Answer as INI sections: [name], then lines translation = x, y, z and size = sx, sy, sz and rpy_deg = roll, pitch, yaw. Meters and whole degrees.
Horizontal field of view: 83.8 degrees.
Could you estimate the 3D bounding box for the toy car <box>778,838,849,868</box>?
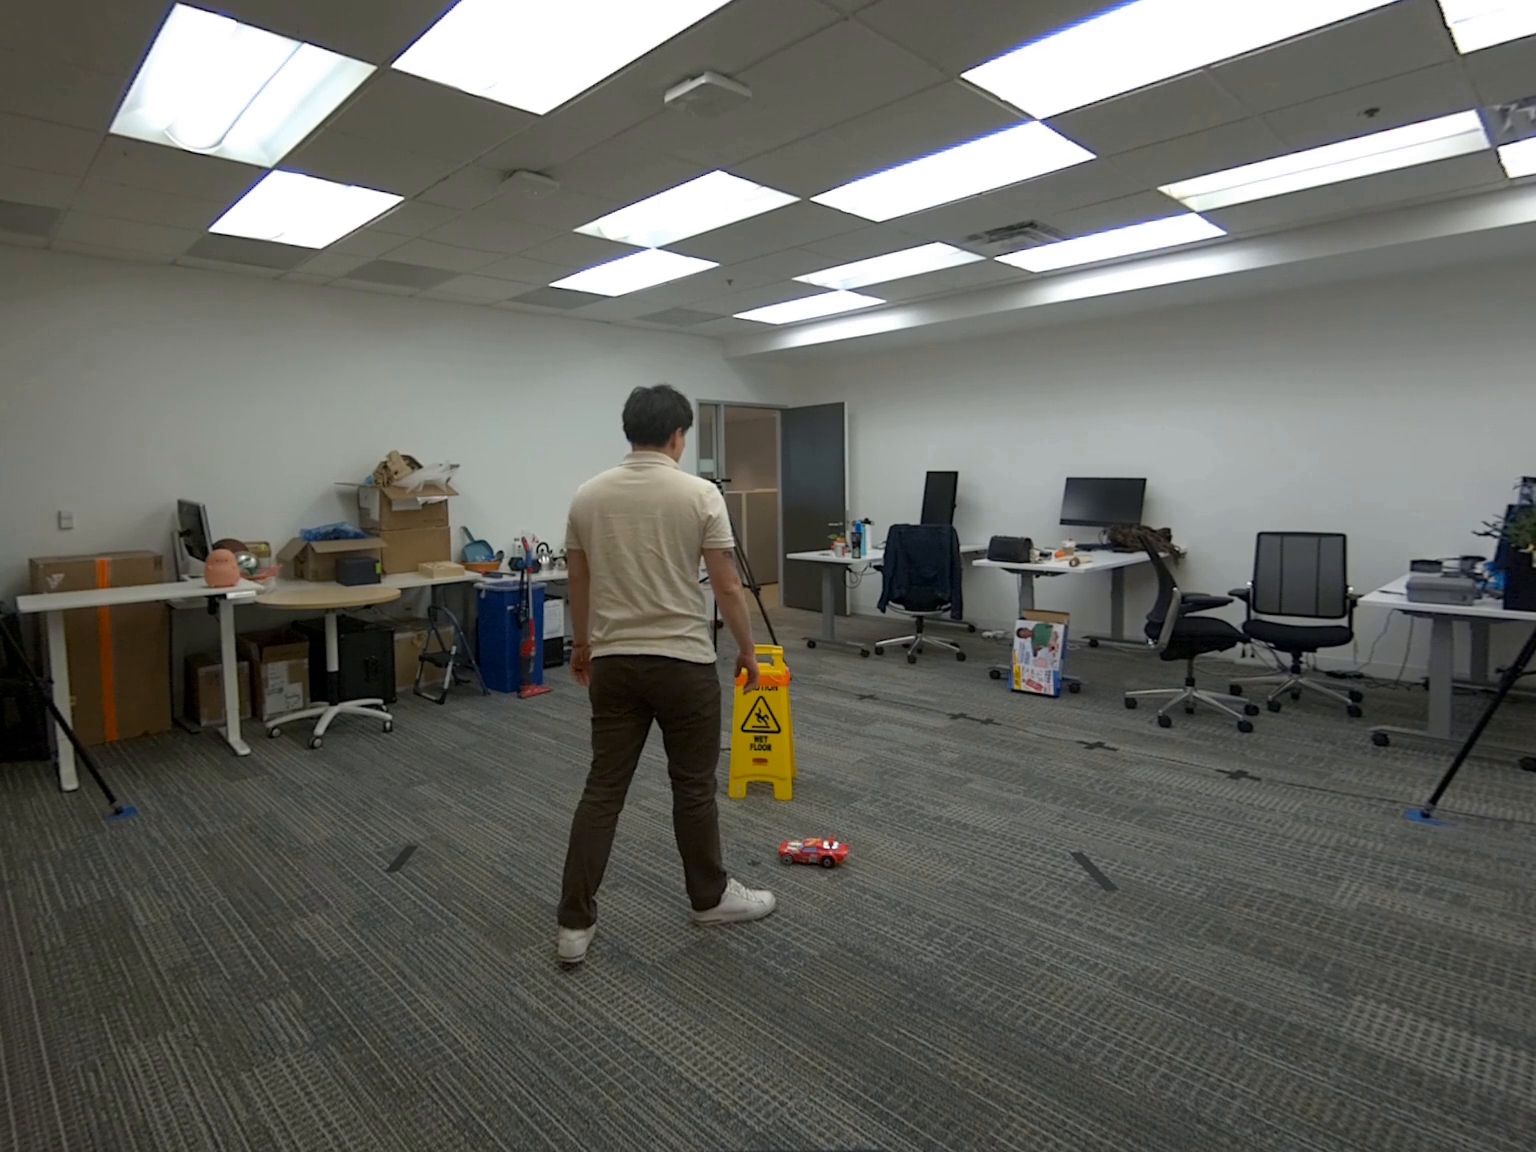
[toy car]
translation = 0.178, 1.009, 3.109
size = 0.257, 0.083, 0.129
rpy_deg = -11, 3, 13
